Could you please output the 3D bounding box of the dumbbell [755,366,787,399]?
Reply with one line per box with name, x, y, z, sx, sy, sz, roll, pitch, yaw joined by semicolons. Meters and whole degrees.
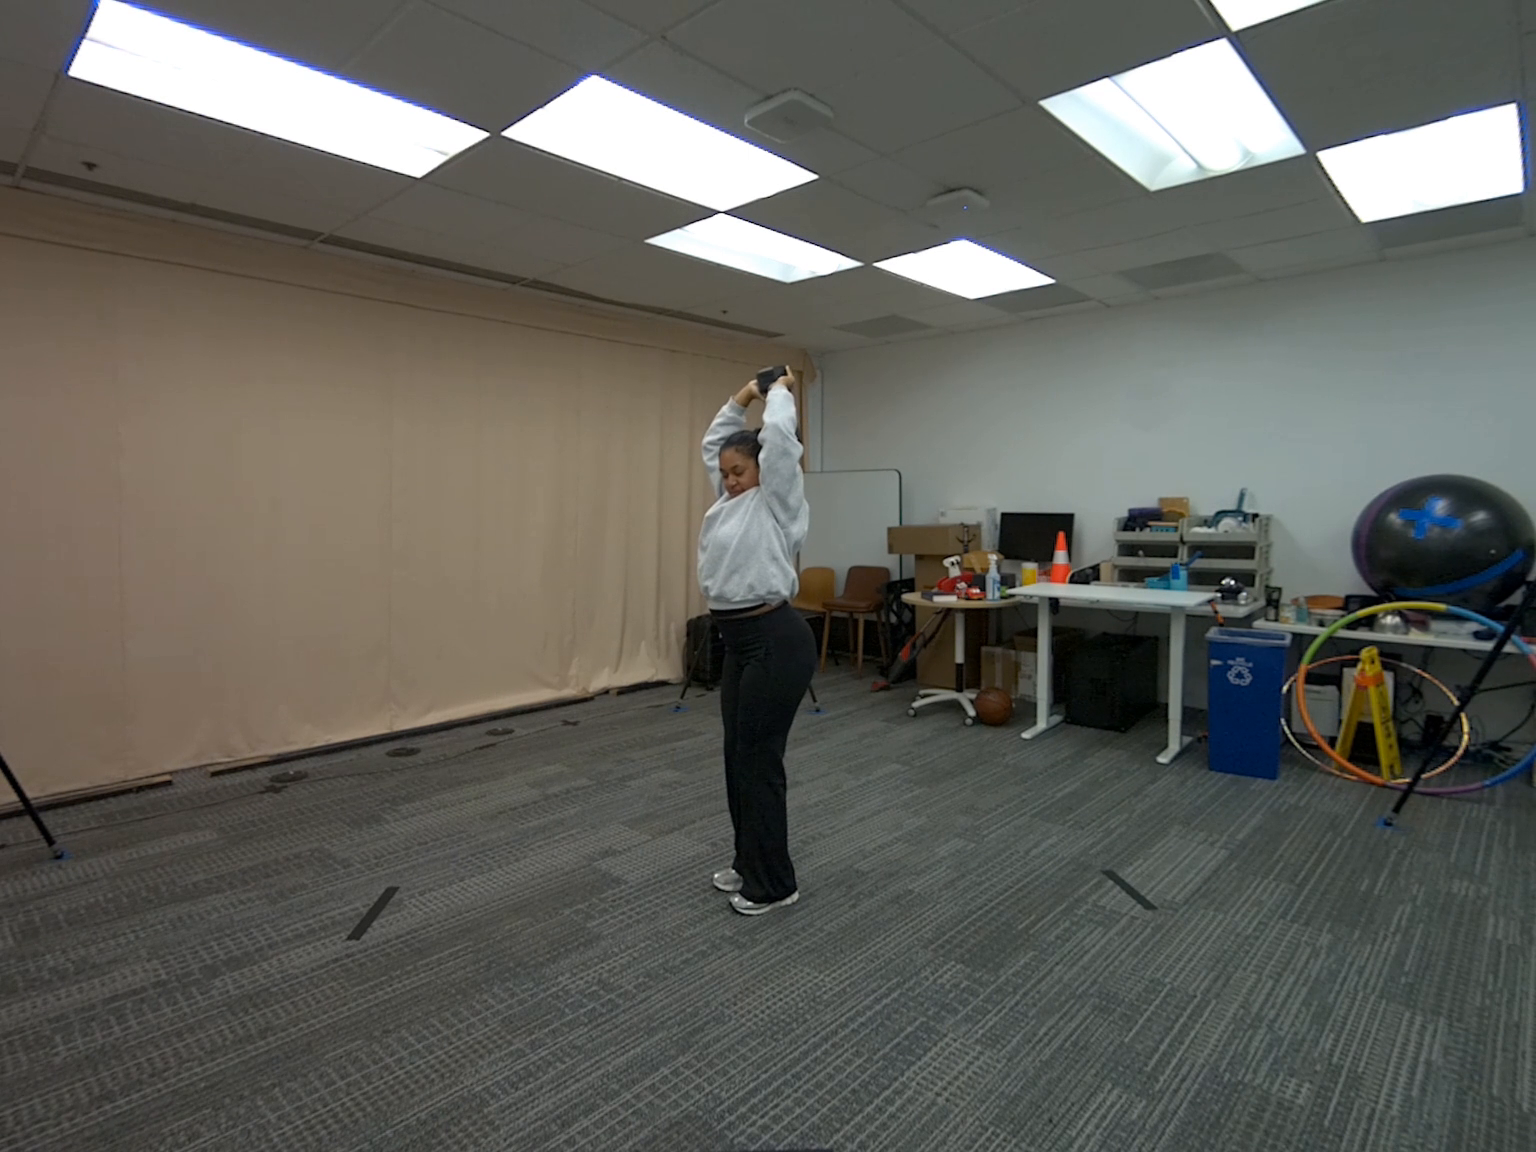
dumbbell;0.042;-0.597;3.002;0.126;0.292;0.107;-10;5;25
